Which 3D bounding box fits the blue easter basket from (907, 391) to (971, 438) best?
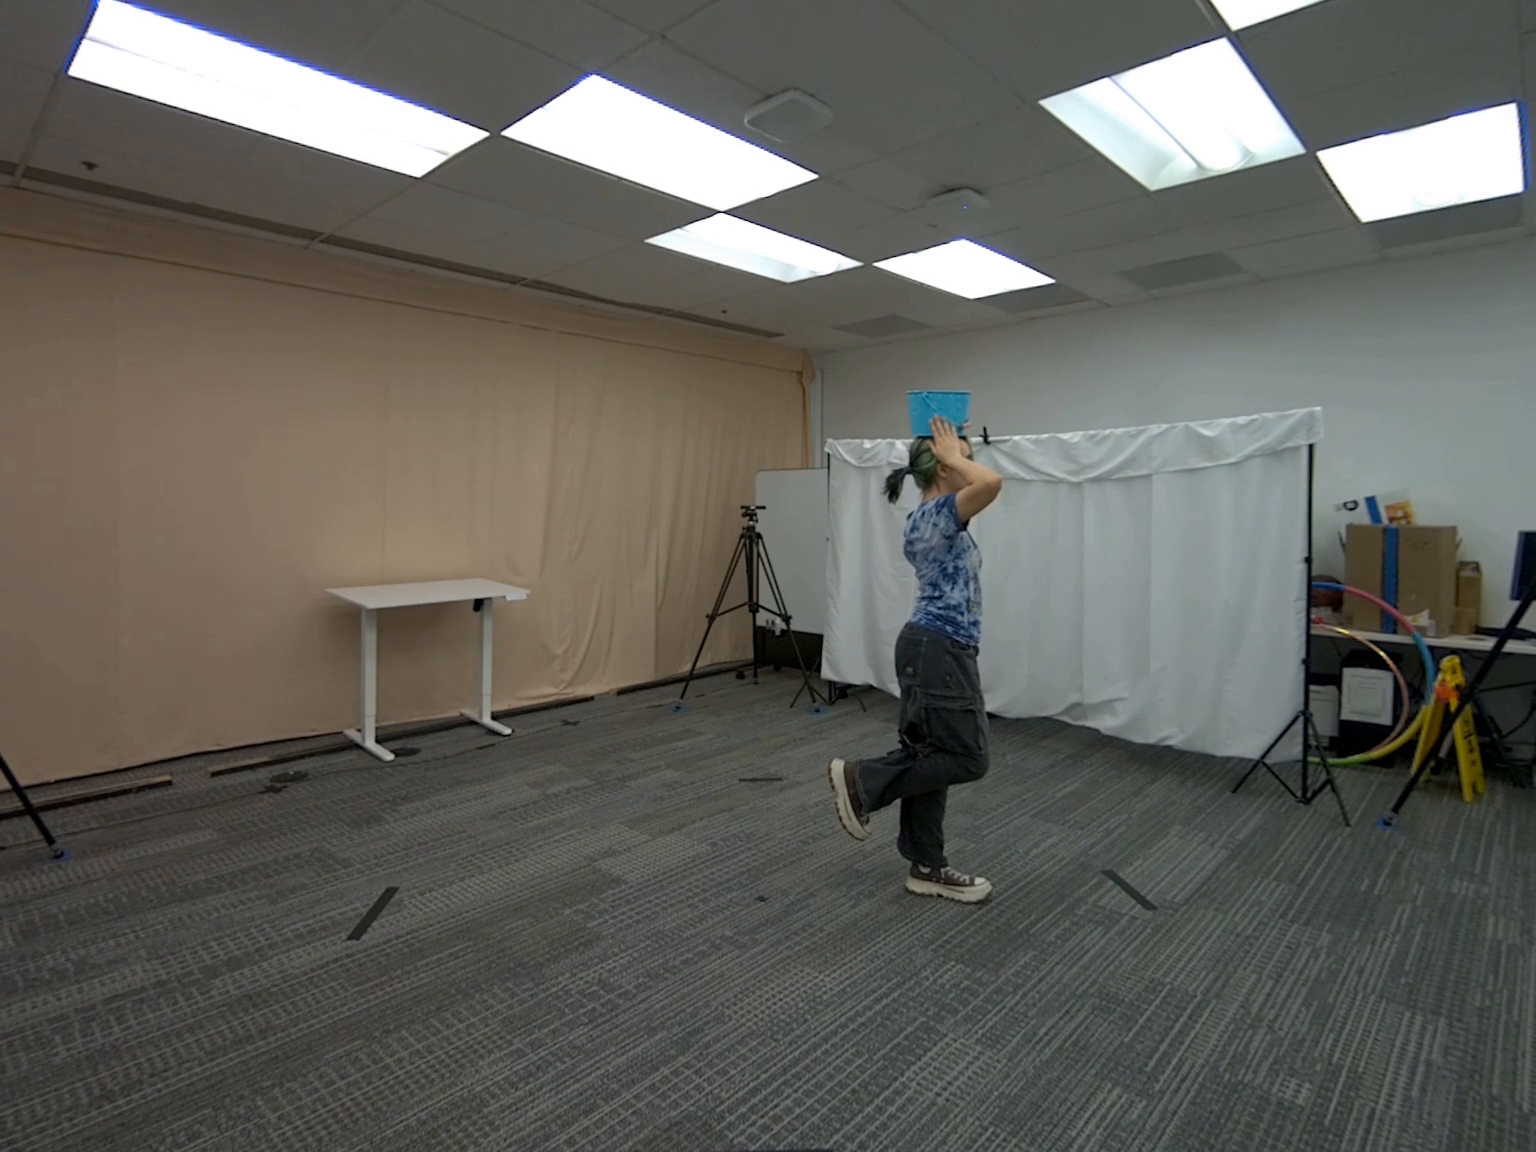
[{"bbox_3d":[0.610,-0.570,2.998,0.243,0.155,0.245,2,11,-2],"label":"blue easter basket"}]
